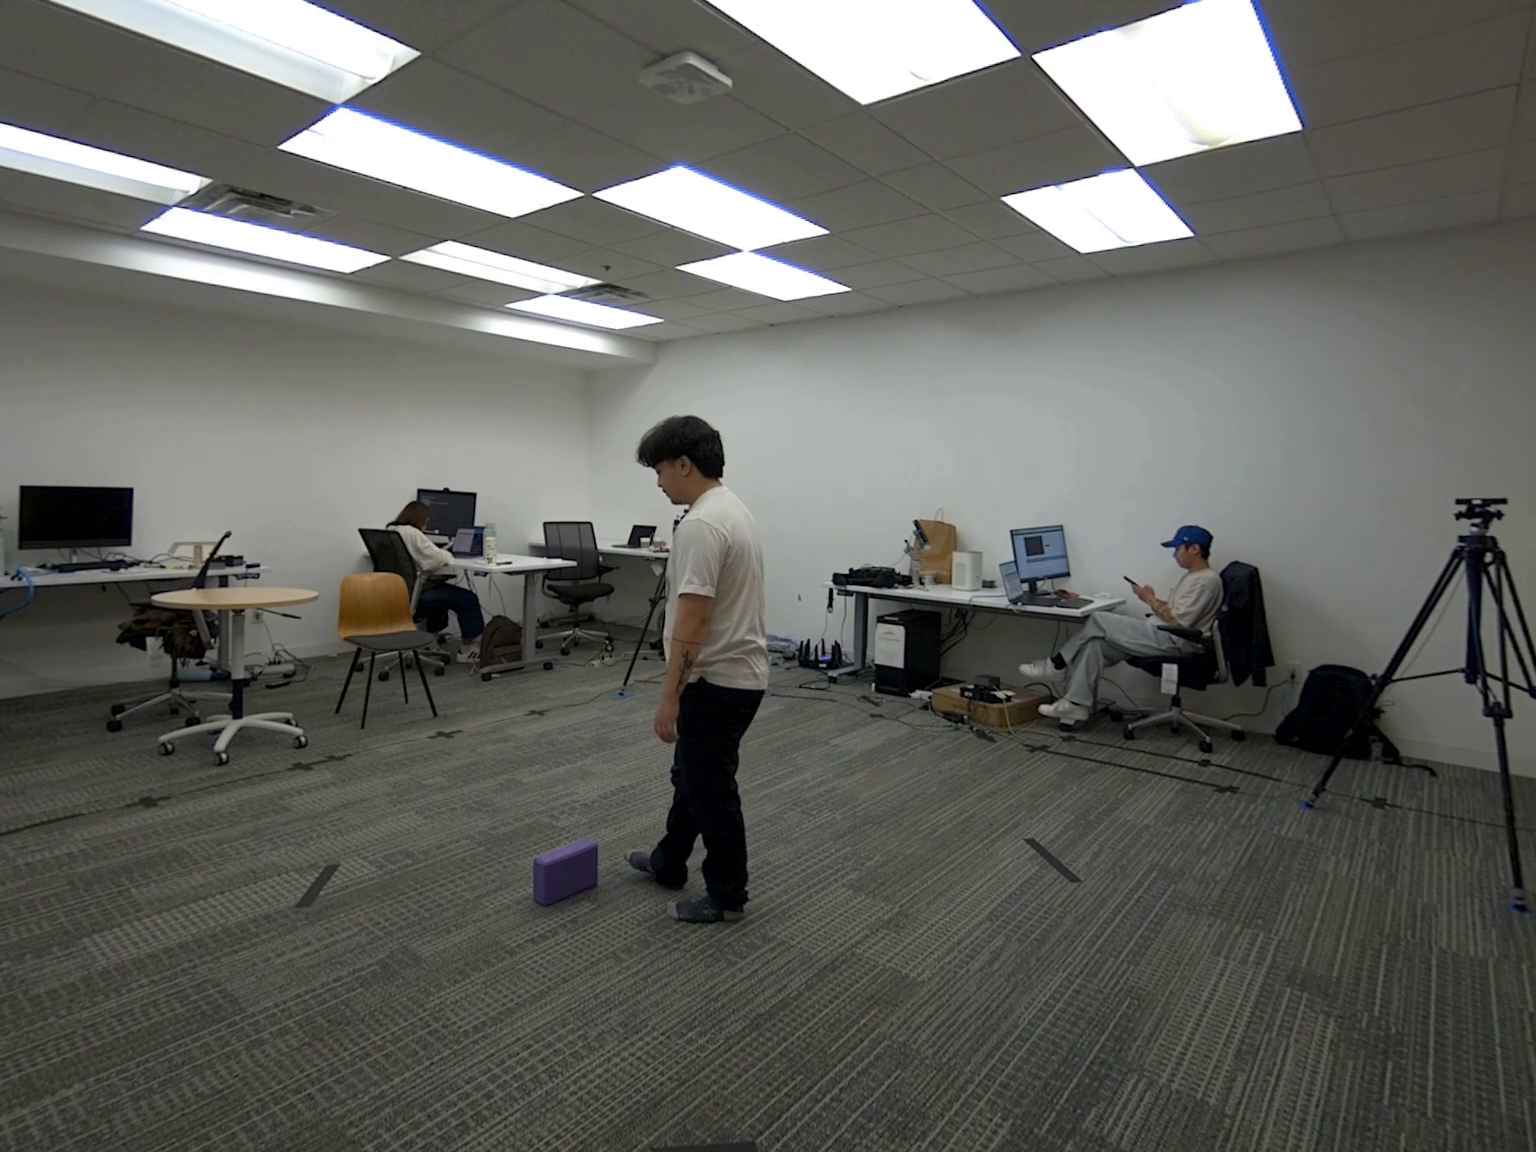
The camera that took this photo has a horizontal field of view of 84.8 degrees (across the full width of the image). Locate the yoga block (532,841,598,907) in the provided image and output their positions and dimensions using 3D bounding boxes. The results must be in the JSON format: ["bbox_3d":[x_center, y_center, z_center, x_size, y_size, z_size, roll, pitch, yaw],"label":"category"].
[{"bbox_3d":[-0.701,1.006,2.910,0.079,0.148,0.223,4,7,42],"label":"yoga block"}]
